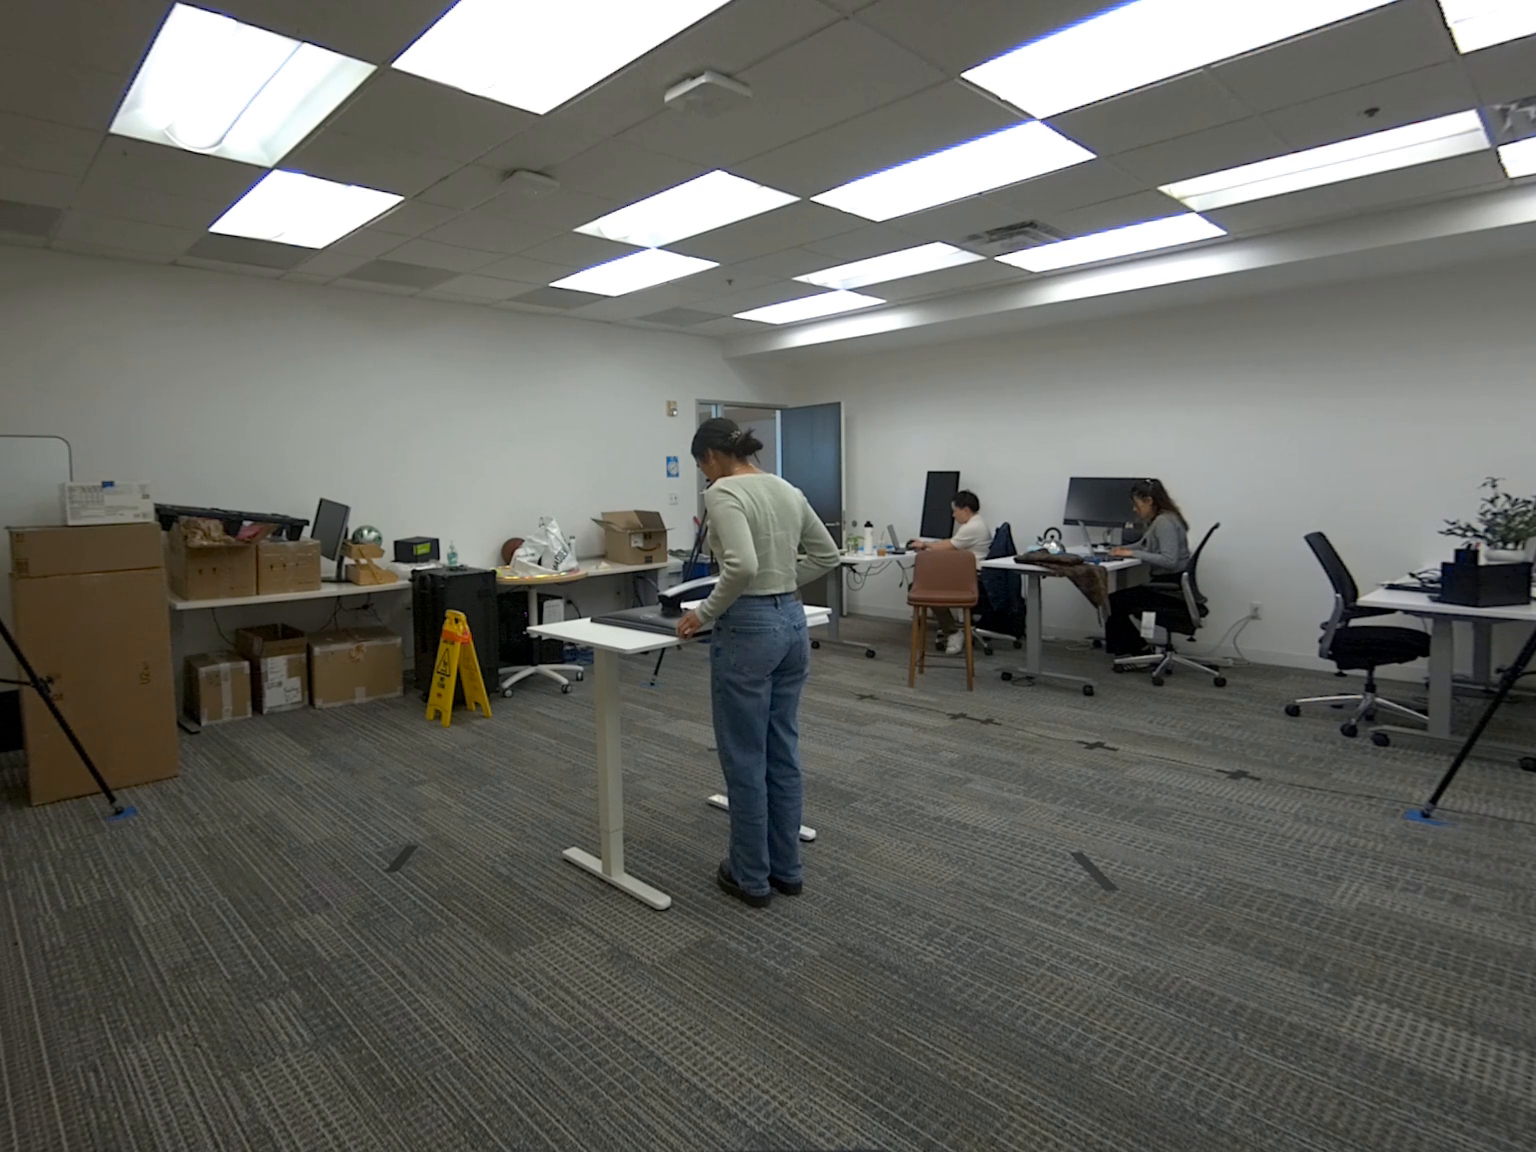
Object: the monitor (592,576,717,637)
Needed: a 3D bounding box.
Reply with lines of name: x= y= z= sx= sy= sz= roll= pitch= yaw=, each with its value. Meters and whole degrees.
monitor: x=-0.284 y=0.104 z=3.137 sx=0.555 sy=0.184 sz=0.515 roll=1 pitch=20 yaw=45
